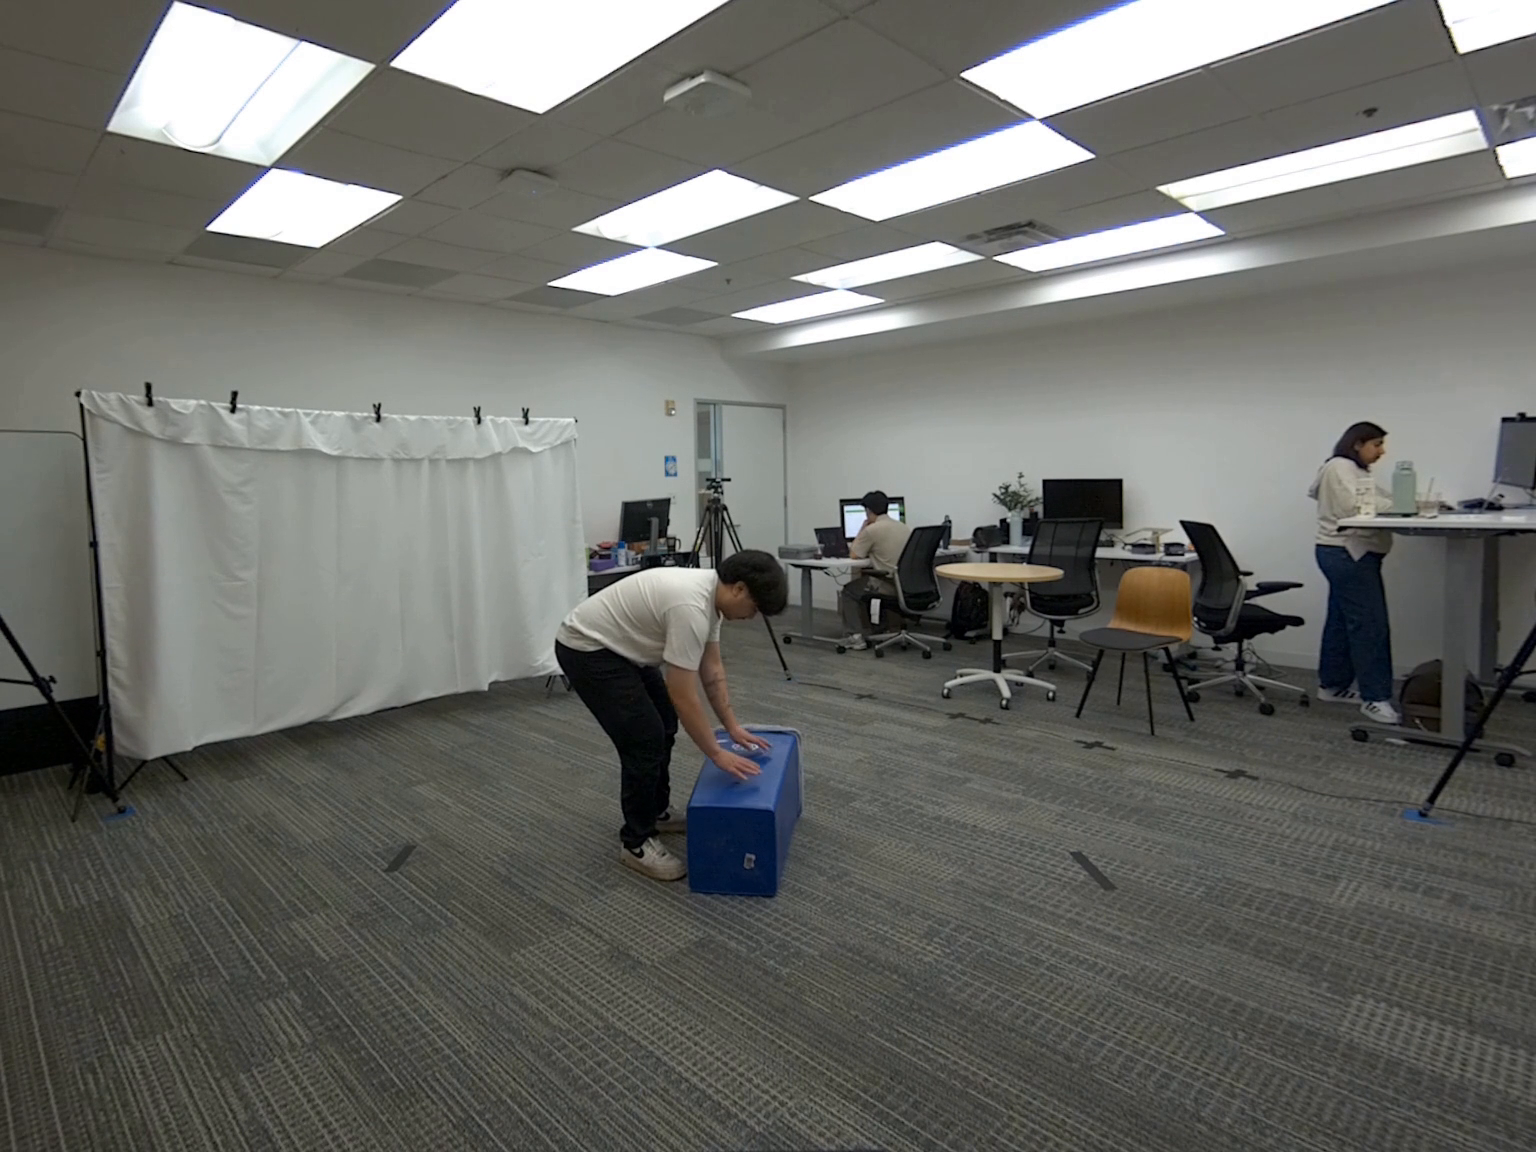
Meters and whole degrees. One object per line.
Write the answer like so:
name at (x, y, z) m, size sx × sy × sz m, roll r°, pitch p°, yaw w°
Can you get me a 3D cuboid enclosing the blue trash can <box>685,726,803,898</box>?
blue trash can at (-0.077, 0.862, 3.203) m, size 0.377 × 0.375 × 0.714 m, roll 0°, pitch 9°, yaw 6°
